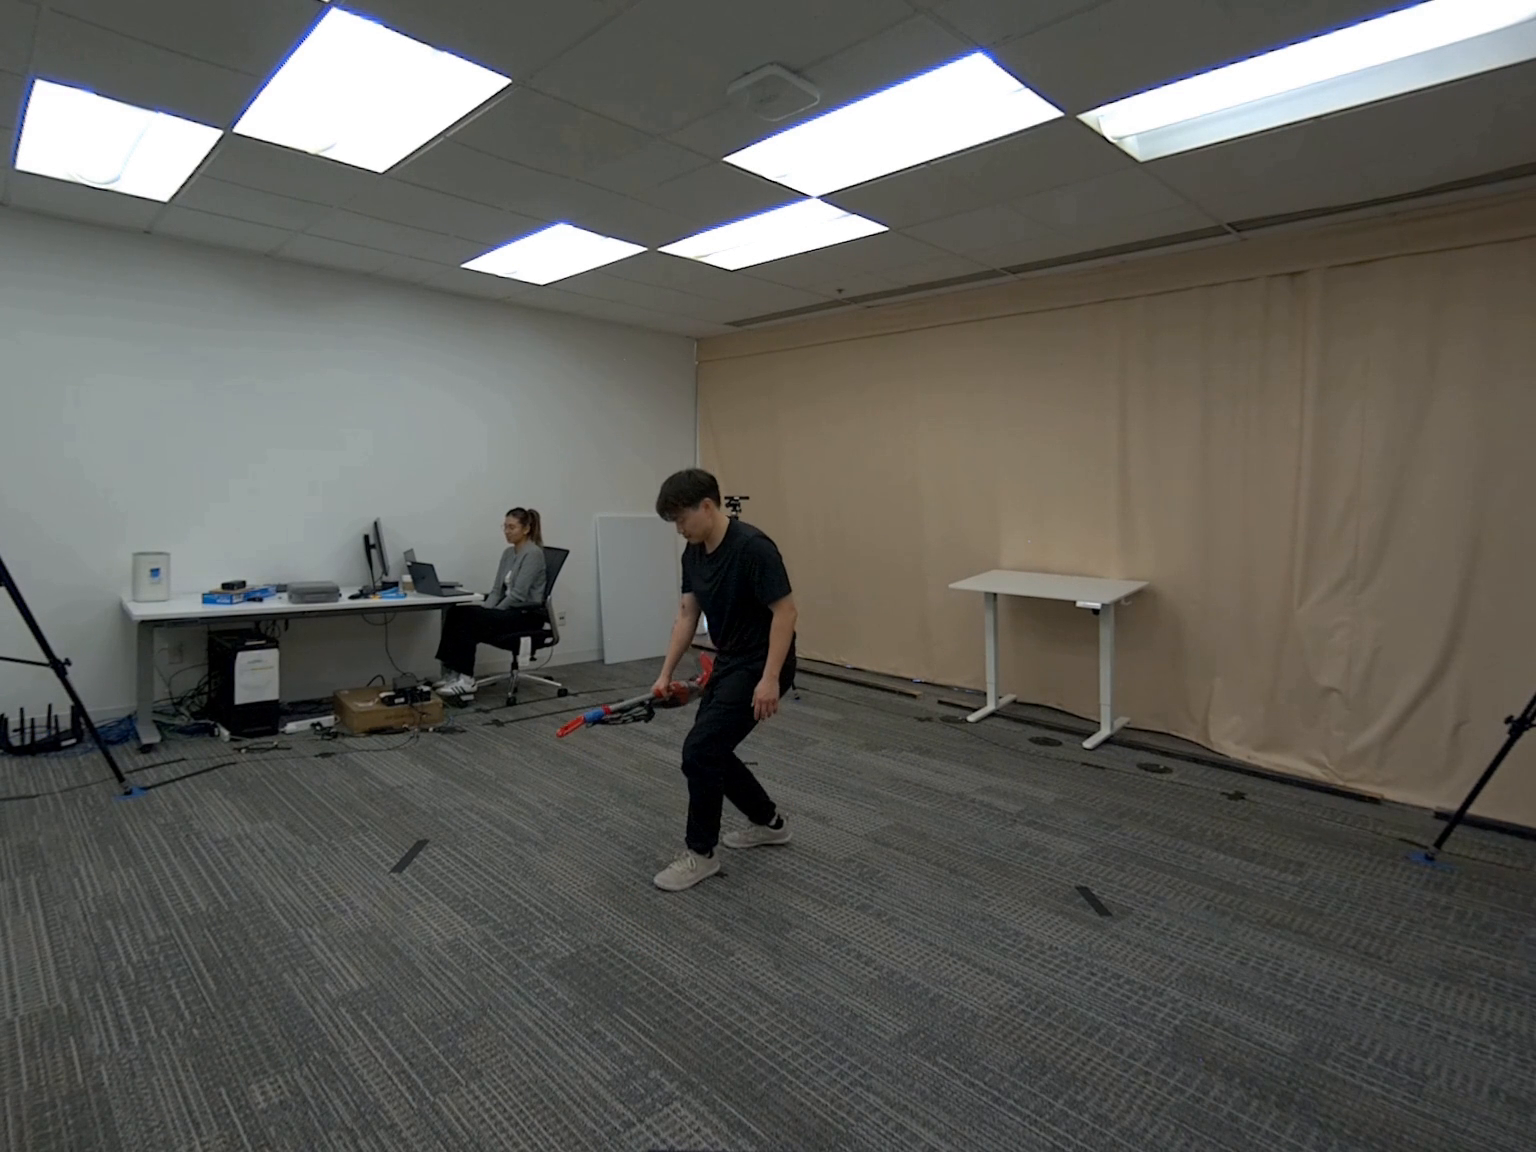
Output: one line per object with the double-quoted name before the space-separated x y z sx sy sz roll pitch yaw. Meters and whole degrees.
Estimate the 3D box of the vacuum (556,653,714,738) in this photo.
"vacuum" -0.475 0.505 3.242 0.257 0.143 1.031 42 20 17
